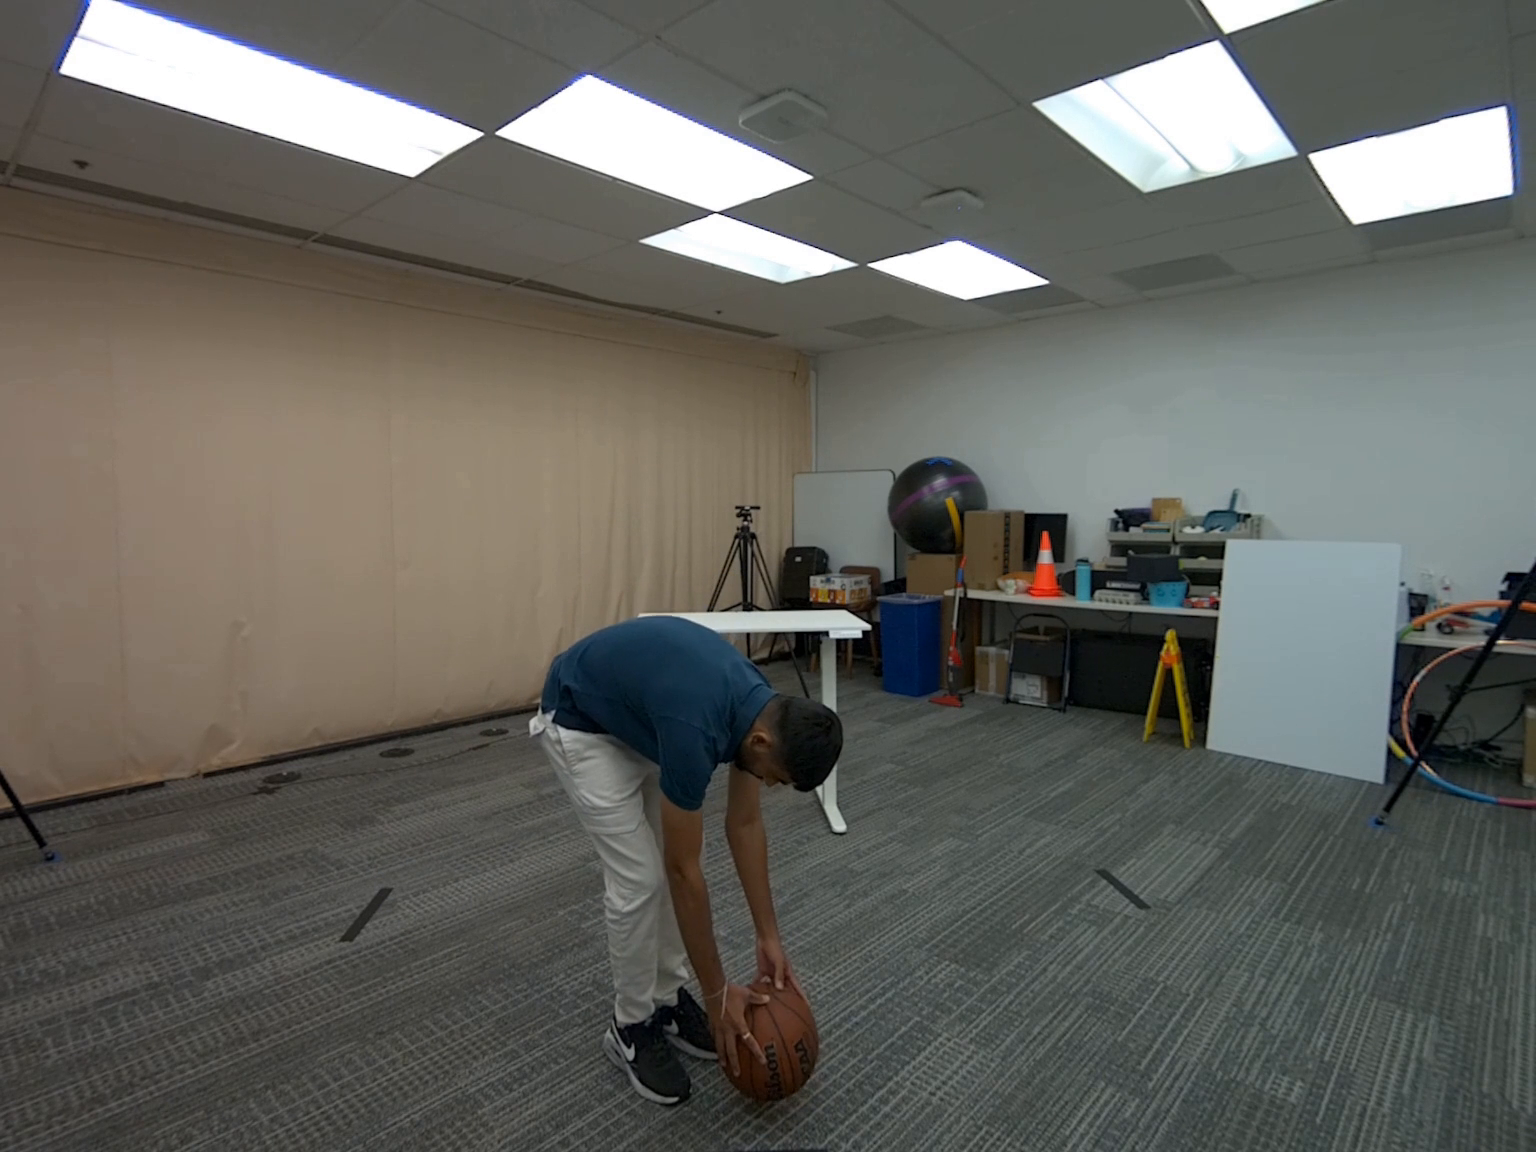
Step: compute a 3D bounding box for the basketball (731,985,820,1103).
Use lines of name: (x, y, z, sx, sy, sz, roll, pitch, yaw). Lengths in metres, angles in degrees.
basketball: (0.002, 1.068, 1.939, 0.236, 0.235, 0.237, 0, 4, -2)
